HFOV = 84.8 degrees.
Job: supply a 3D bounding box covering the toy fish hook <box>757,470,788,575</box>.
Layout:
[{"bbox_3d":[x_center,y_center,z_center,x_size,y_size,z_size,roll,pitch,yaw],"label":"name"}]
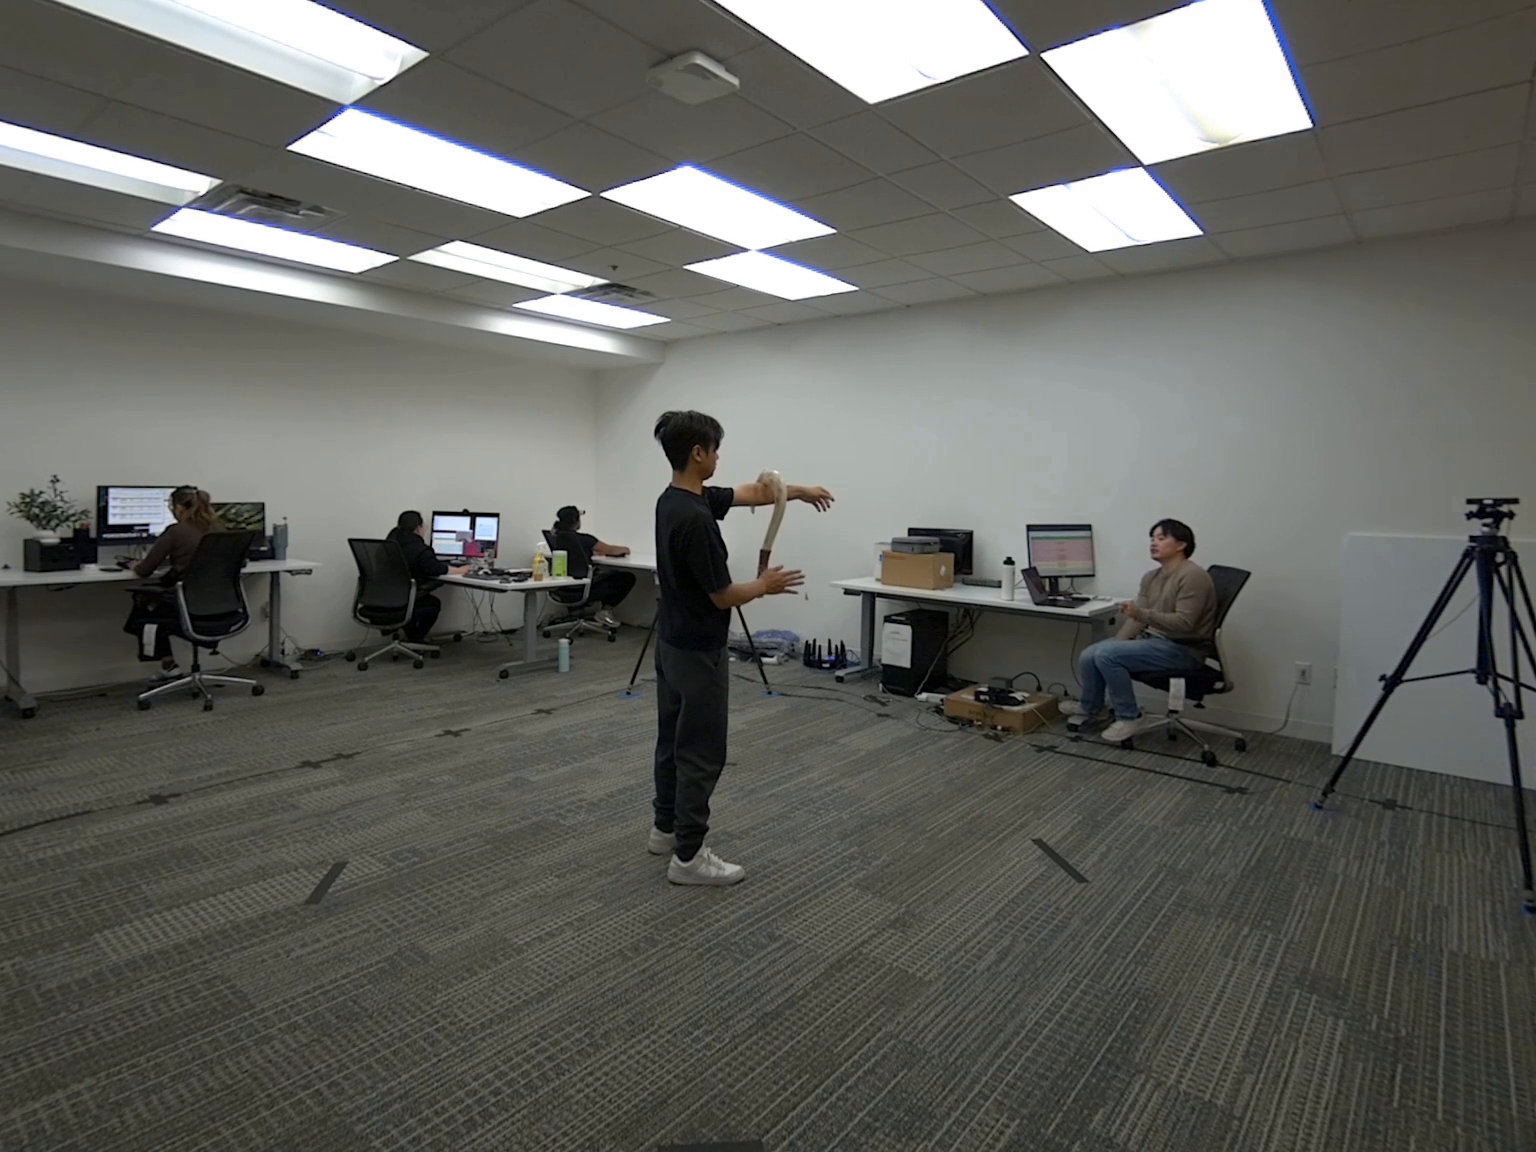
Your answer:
[{"bbox_3d":[-0.033,-0.175,3.379,0.047,0.501,0.233,2,16,-32],"label":"toy fish hook"}]
